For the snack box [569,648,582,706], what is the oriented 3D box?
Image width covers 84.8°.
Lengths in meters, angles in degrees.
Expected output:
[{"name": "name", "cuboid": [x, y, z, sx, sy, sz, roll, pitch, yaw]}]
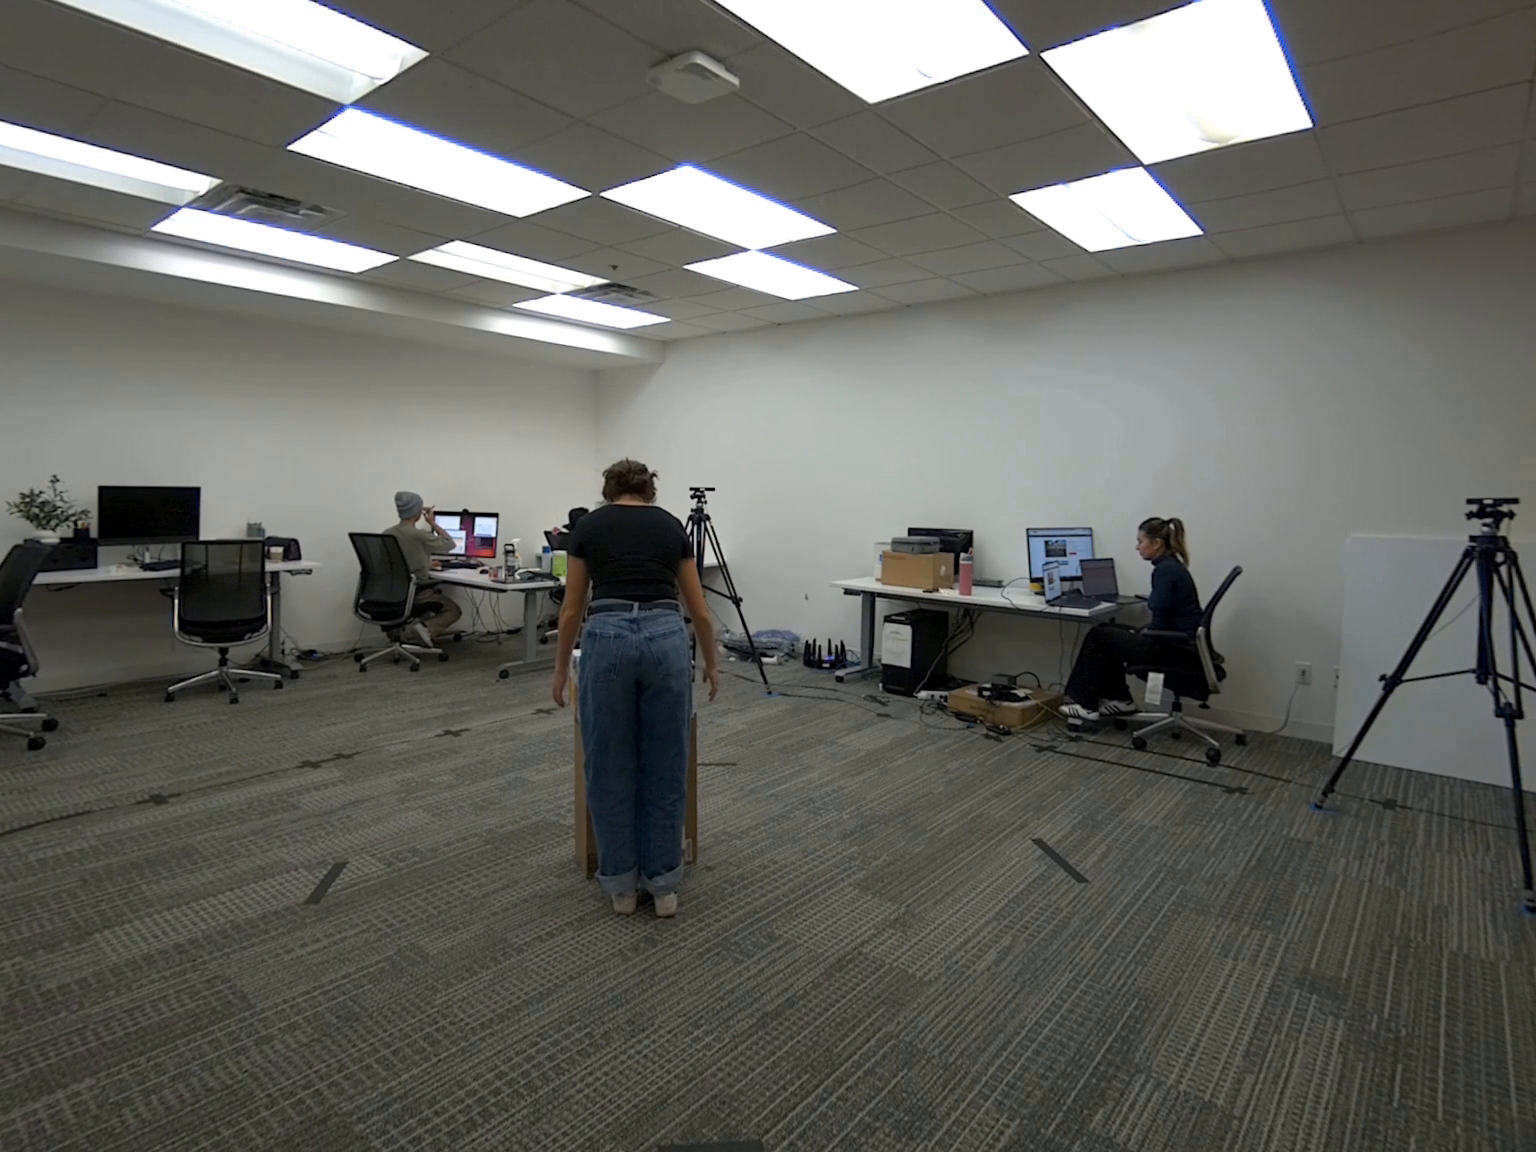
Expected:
[{"name": "snack box", "cuboid": [-0.515, 0.390, 3.126, 0.397, 0.205, 0.348, 0, 5, -19]}]
